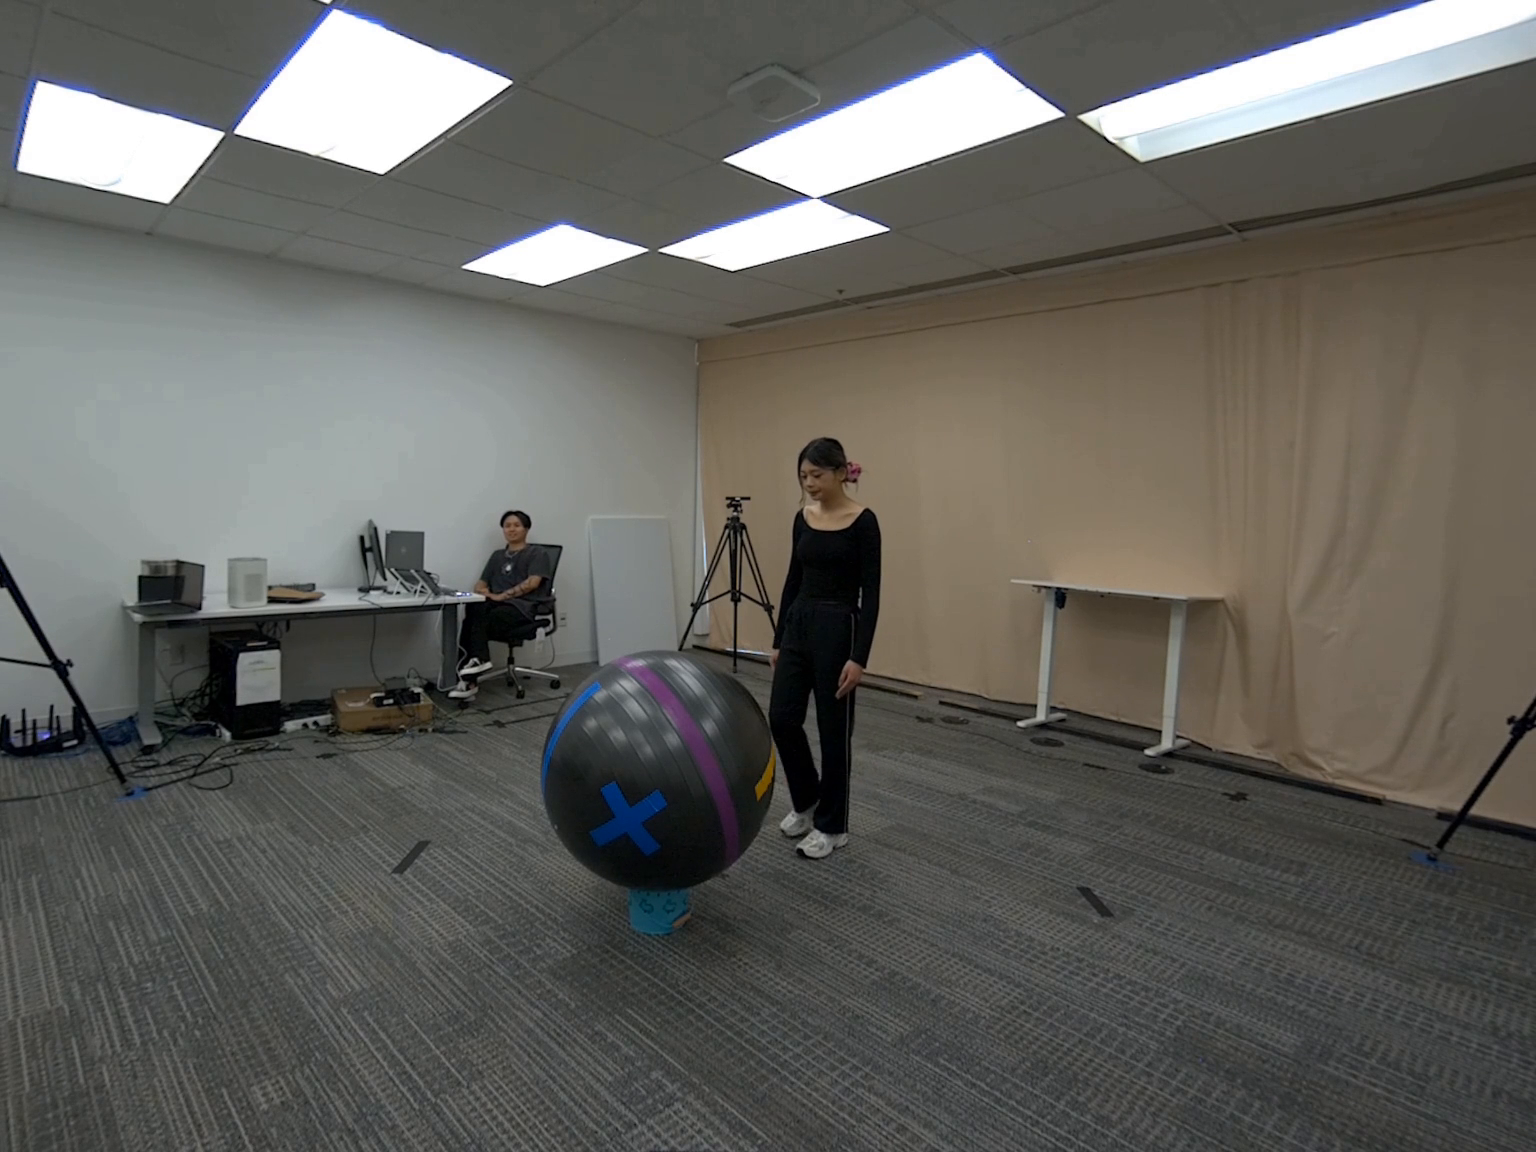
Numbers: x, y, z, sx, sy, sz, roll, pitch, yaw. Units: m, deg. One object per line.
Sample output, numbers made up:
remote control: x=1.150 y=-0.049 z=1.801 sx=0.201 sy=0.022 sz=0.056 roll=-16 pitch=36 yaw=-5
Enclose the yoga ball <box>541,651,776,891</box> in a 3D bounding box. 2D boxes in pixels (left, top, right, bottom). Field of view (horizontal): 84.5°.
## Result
yoga ball: x=-0.356 y=0.624 z=2.739 sx=0.757 sy=0.756 sz=0.761 roll=1 pitch=4 yaw=-1
